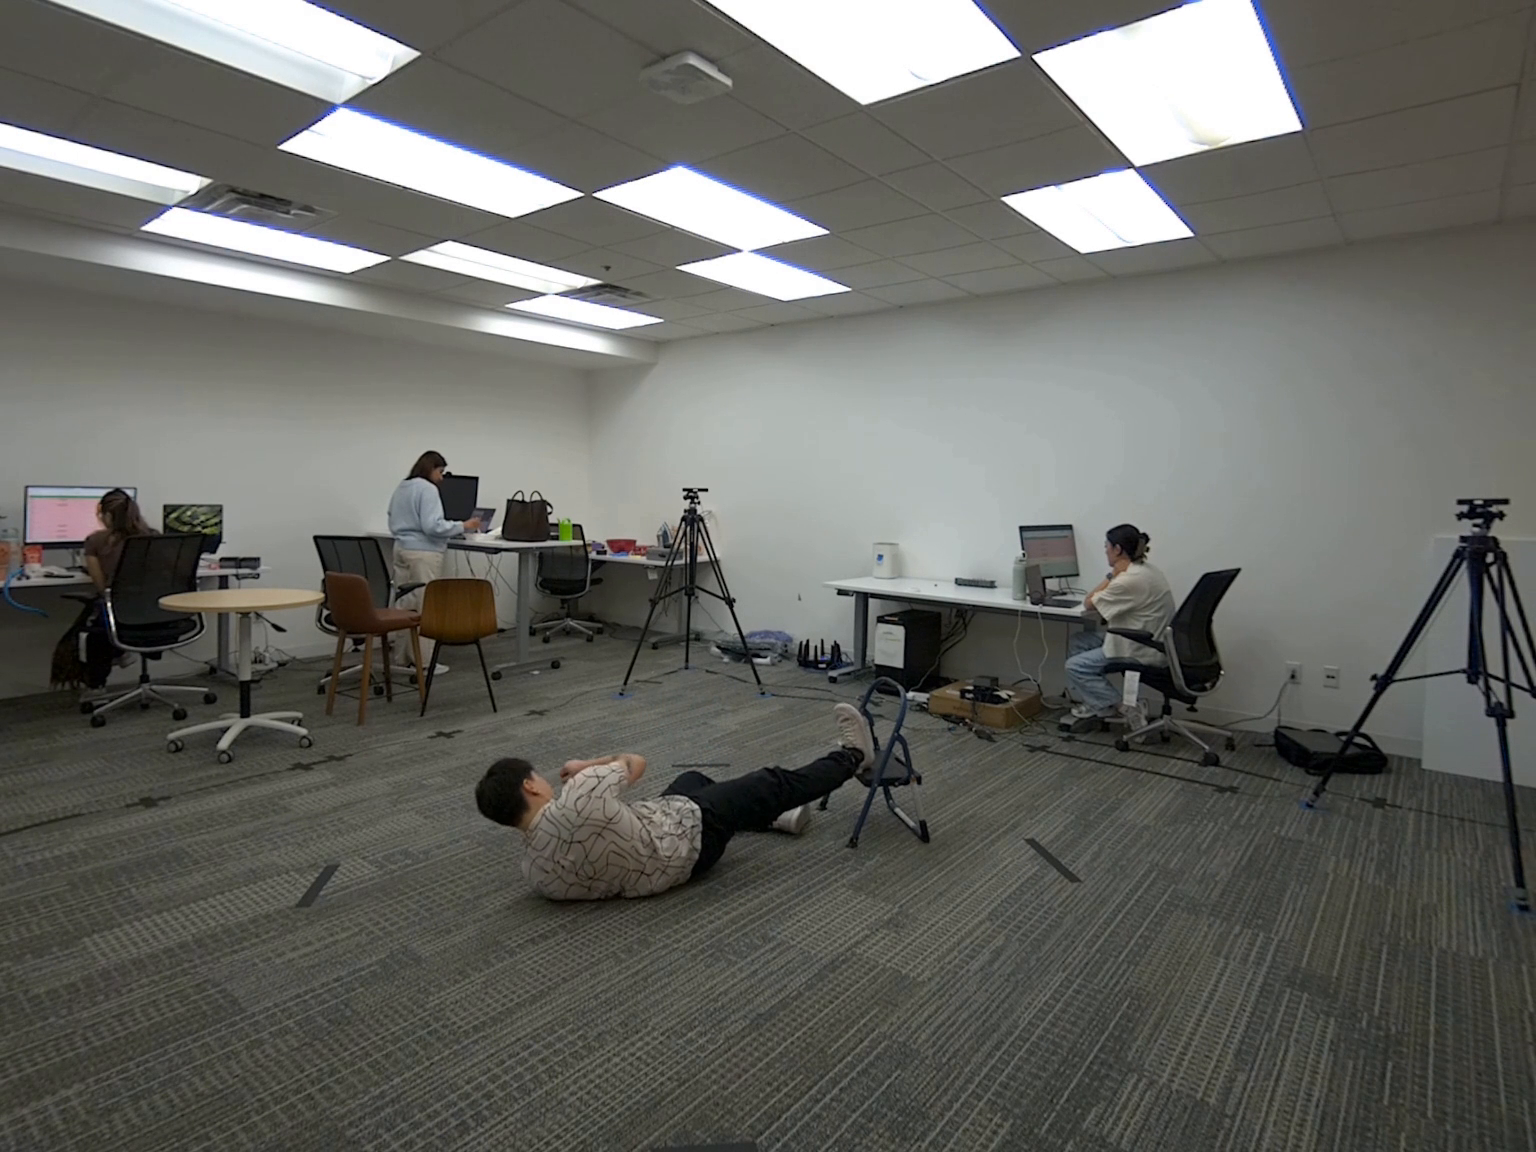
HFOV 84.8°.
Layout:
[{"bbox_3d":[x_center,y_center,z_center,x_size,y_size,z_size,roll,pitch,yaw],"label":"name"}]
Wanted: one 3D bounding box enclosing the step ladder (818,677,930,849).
[{"bbox_3d":[0.436,0.740,3.552,0.345,0.604,0.438,0,4,-13],"label":"step ladder"}]
